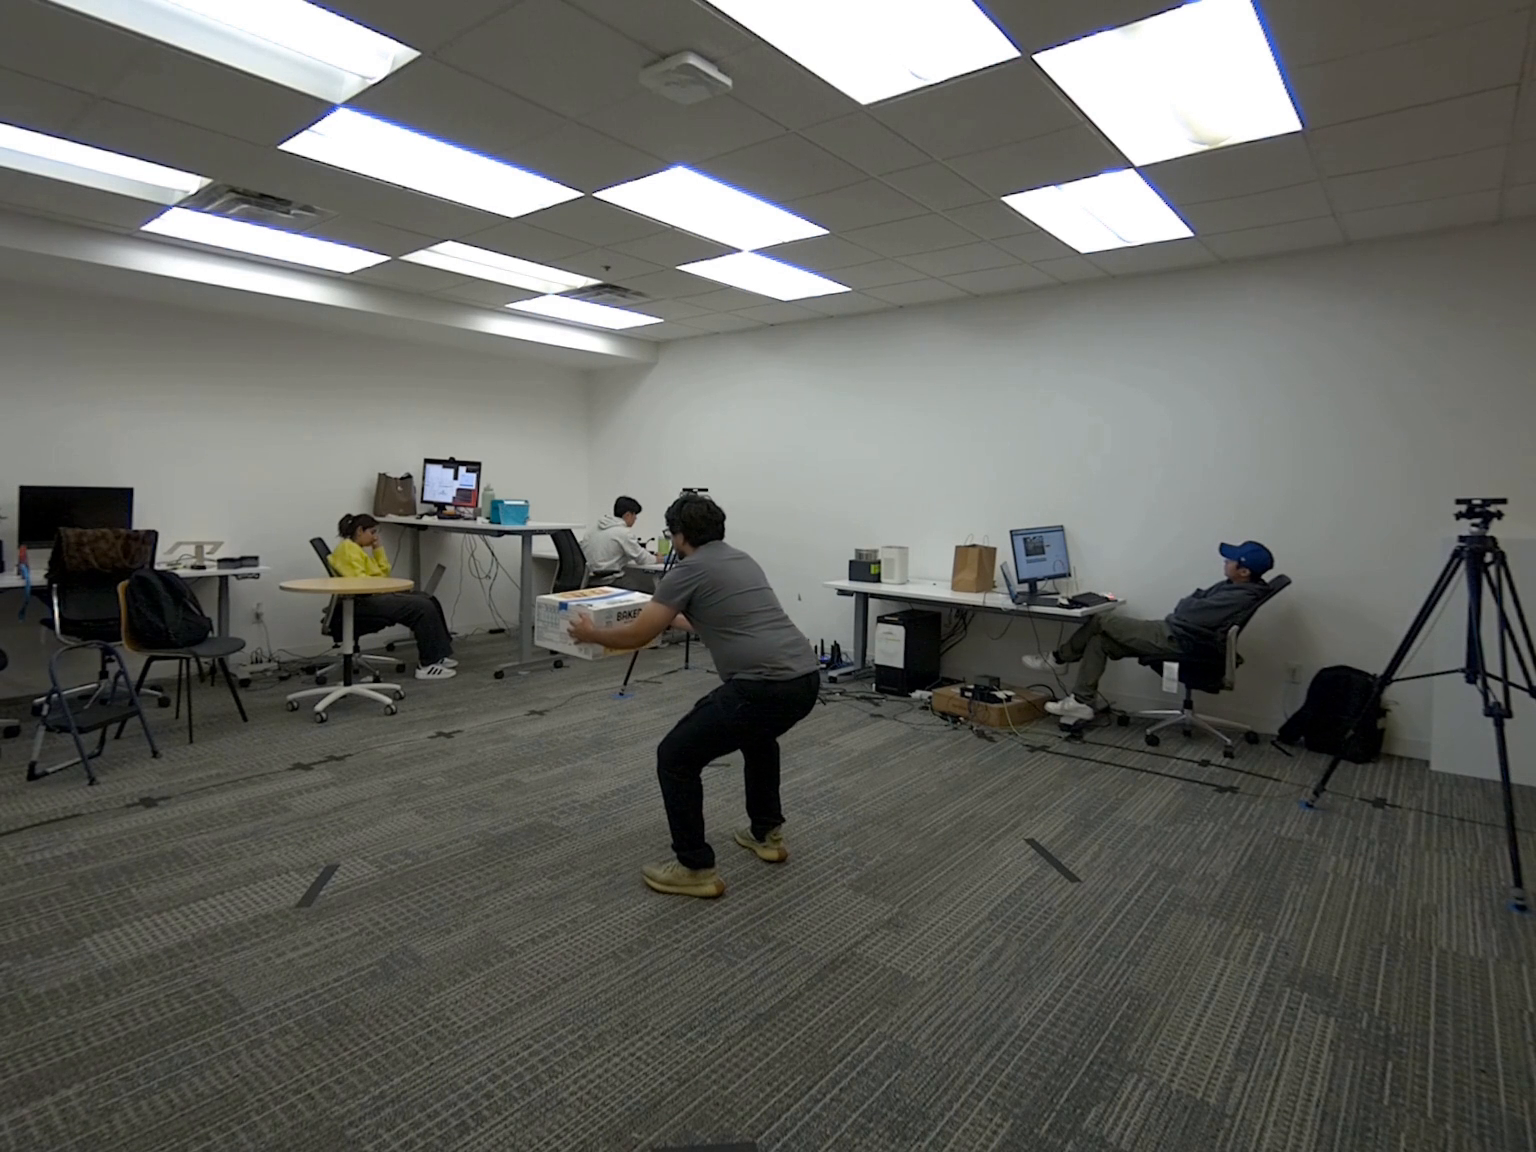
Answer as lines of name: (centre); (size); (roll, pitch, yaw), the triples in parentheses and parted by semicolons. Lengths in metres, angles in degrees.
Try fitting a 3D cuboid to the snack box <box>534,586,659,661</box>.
snack box: (-0.706, 0.186, 3.509); (0.352, 0.204, 0.394); (8, 10, 35)
